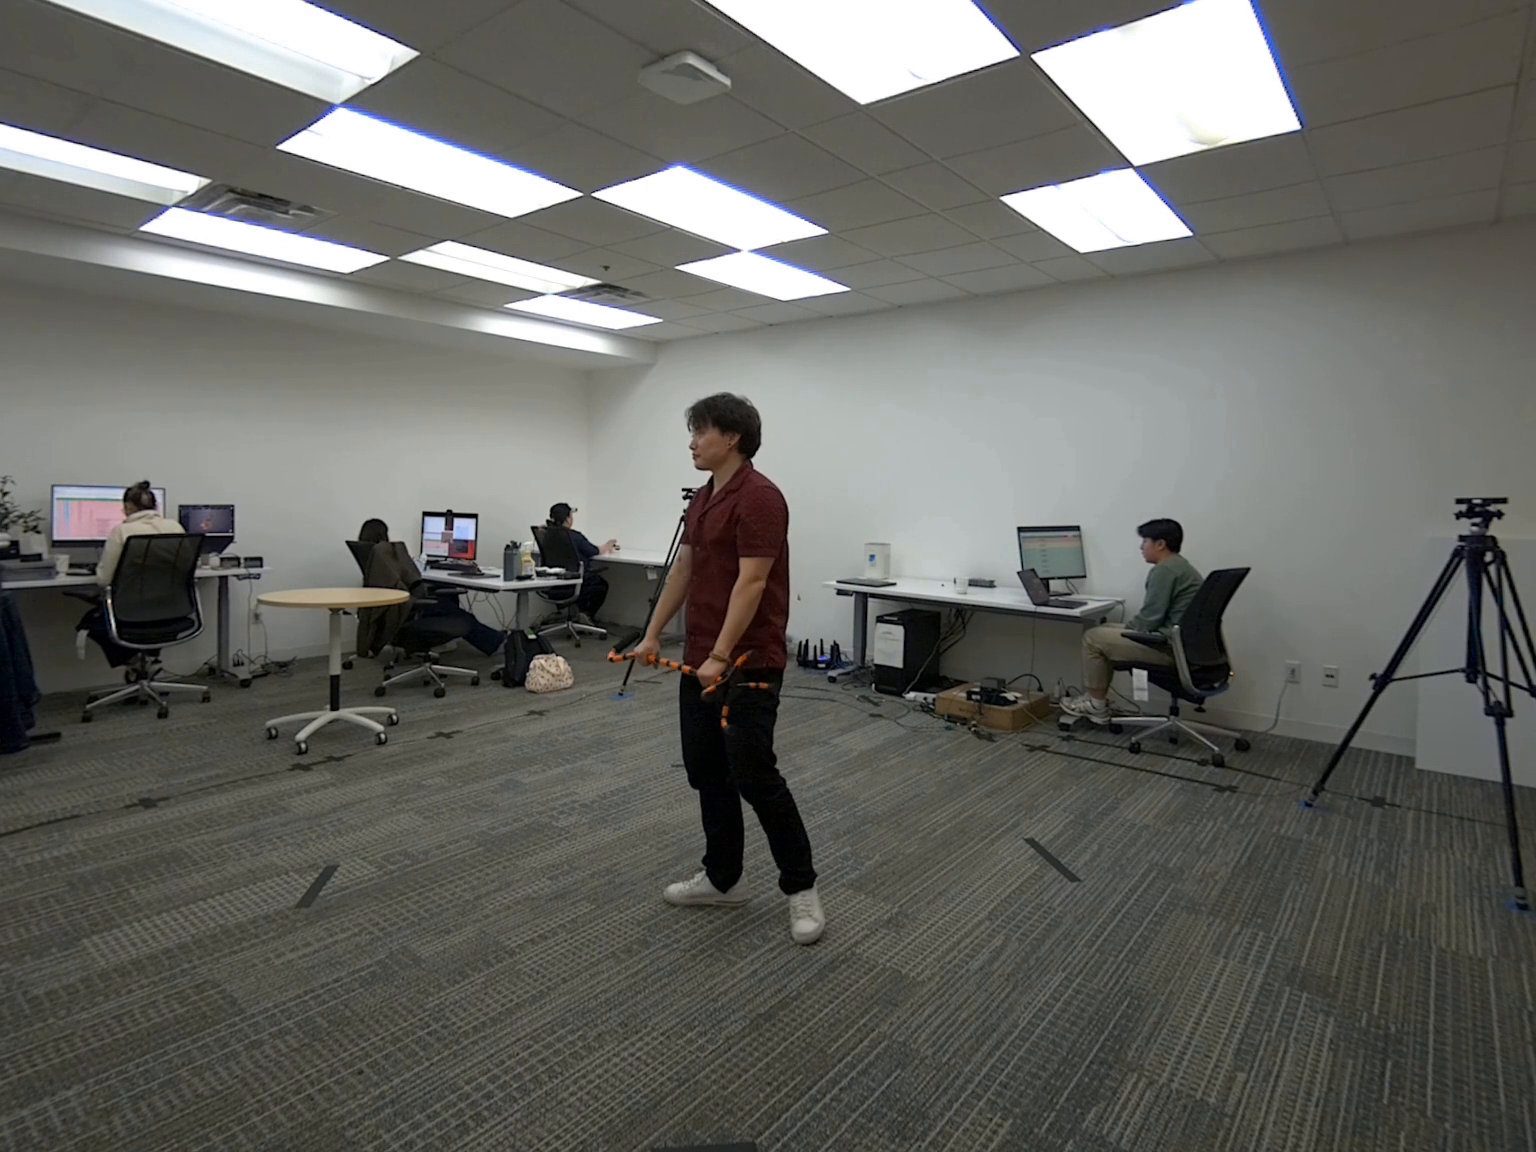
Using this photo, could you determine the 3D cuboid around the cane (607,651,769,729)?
[{"bbox_3d":[-0.336,0.303,2.757,0.205,0.148,0.934,-40,21,-23],"label":"cane"}]
